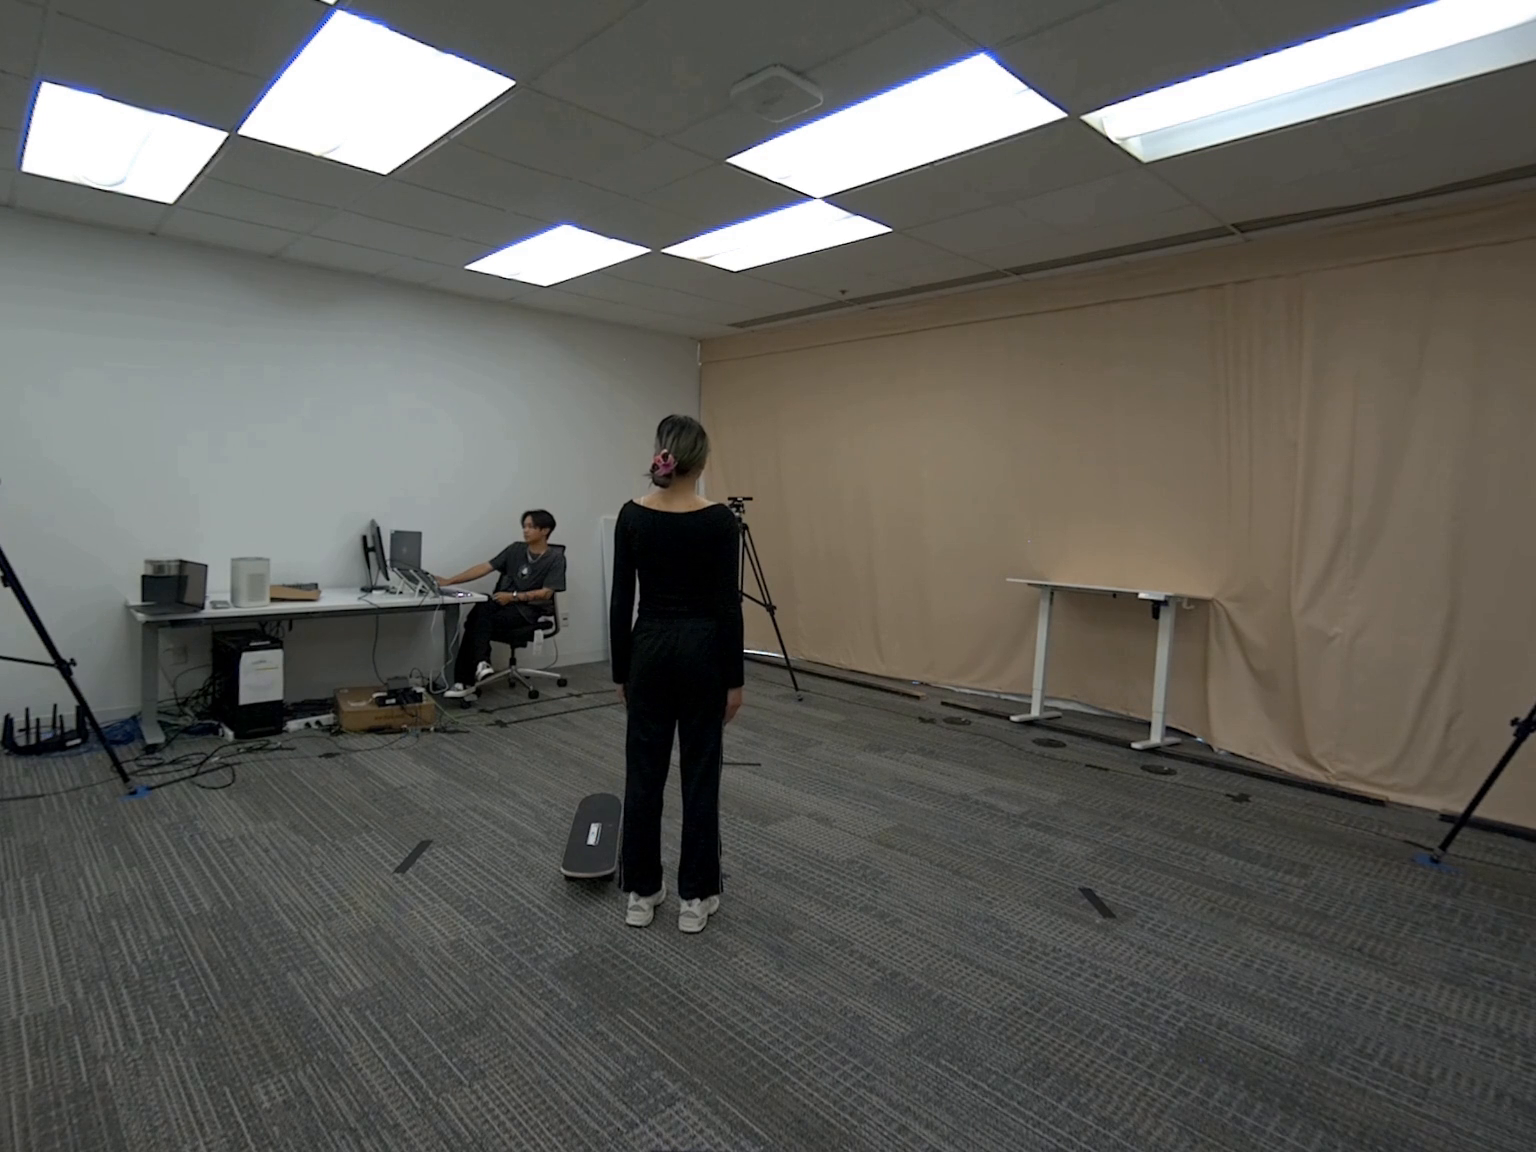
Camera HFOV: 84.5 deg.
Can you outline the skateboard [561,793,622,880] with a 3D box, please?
[{"bbox_3d":[-0.681,1.028,3.249,0.193,0.110,0.791,1,5,-6],"label":"skateboard"}]
